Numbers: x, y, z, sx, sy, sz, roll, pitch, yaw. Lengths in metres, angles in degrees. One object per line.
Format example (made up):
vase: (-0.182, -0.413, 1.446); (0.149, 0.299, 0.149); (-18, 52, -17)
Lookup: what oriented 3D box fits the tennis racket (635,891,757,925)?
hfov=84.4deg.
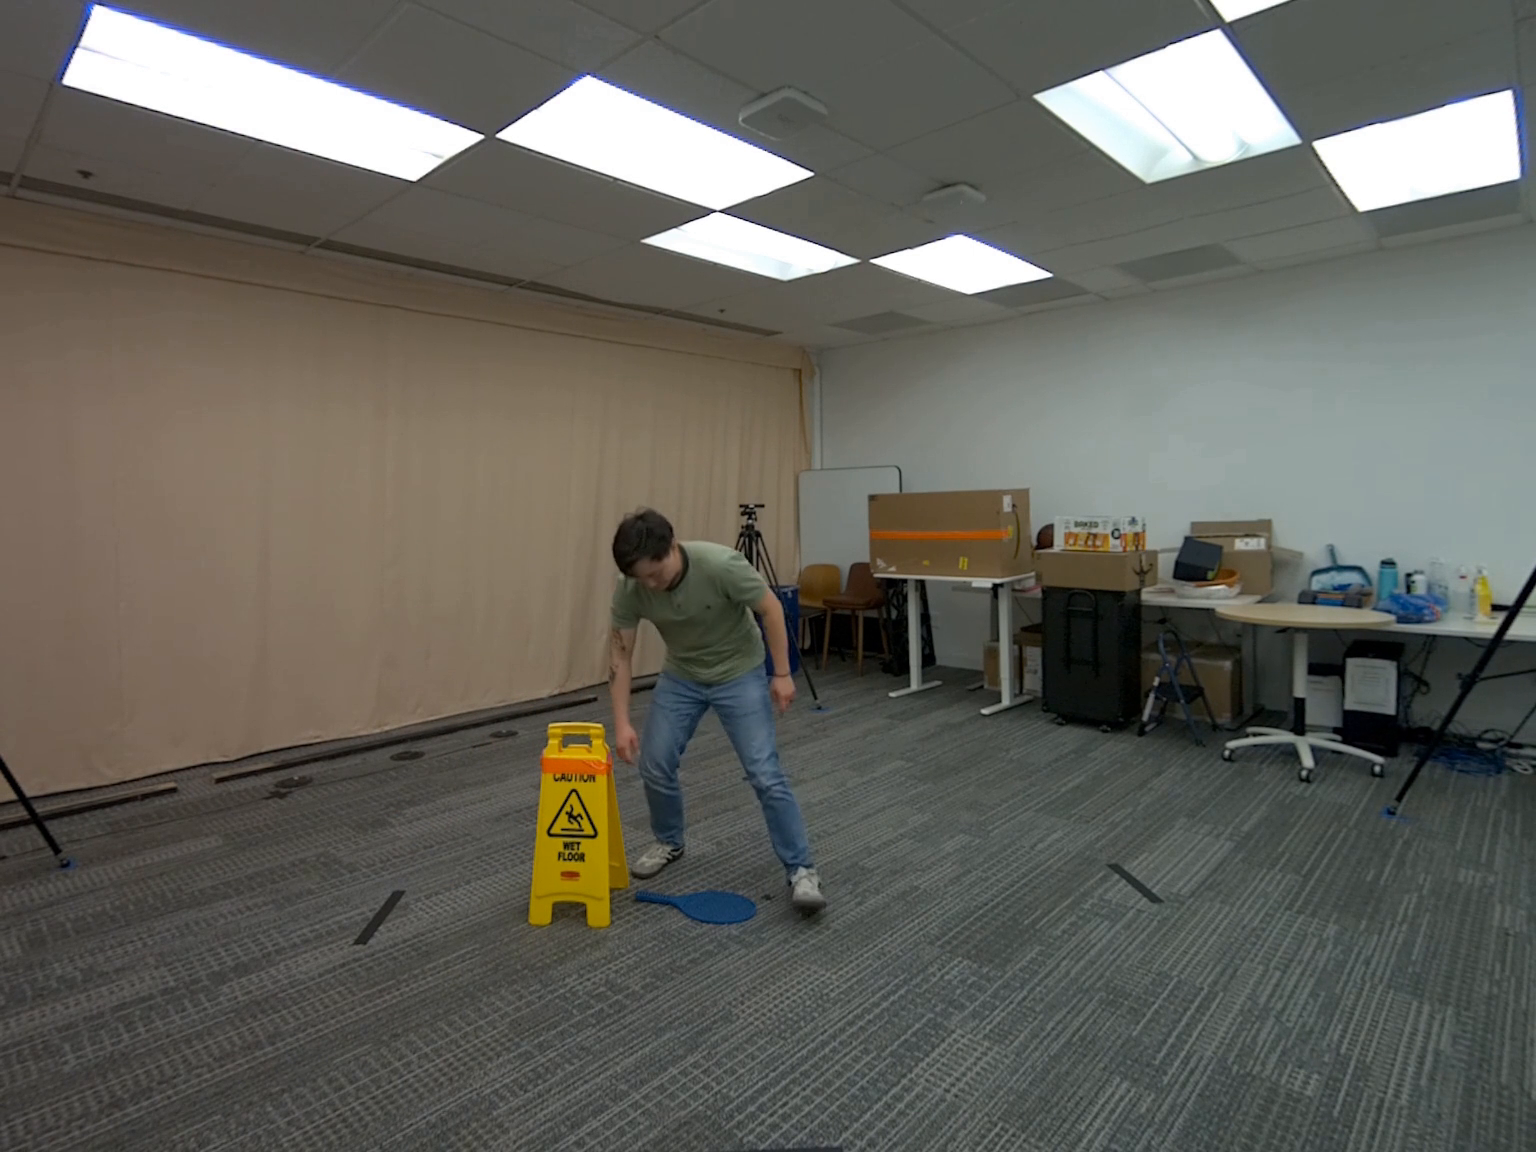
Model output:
tennis racket: (-0.254, 1.137, 2.931); (0.440, 0.031, 0.211); (2, 5, 14)
